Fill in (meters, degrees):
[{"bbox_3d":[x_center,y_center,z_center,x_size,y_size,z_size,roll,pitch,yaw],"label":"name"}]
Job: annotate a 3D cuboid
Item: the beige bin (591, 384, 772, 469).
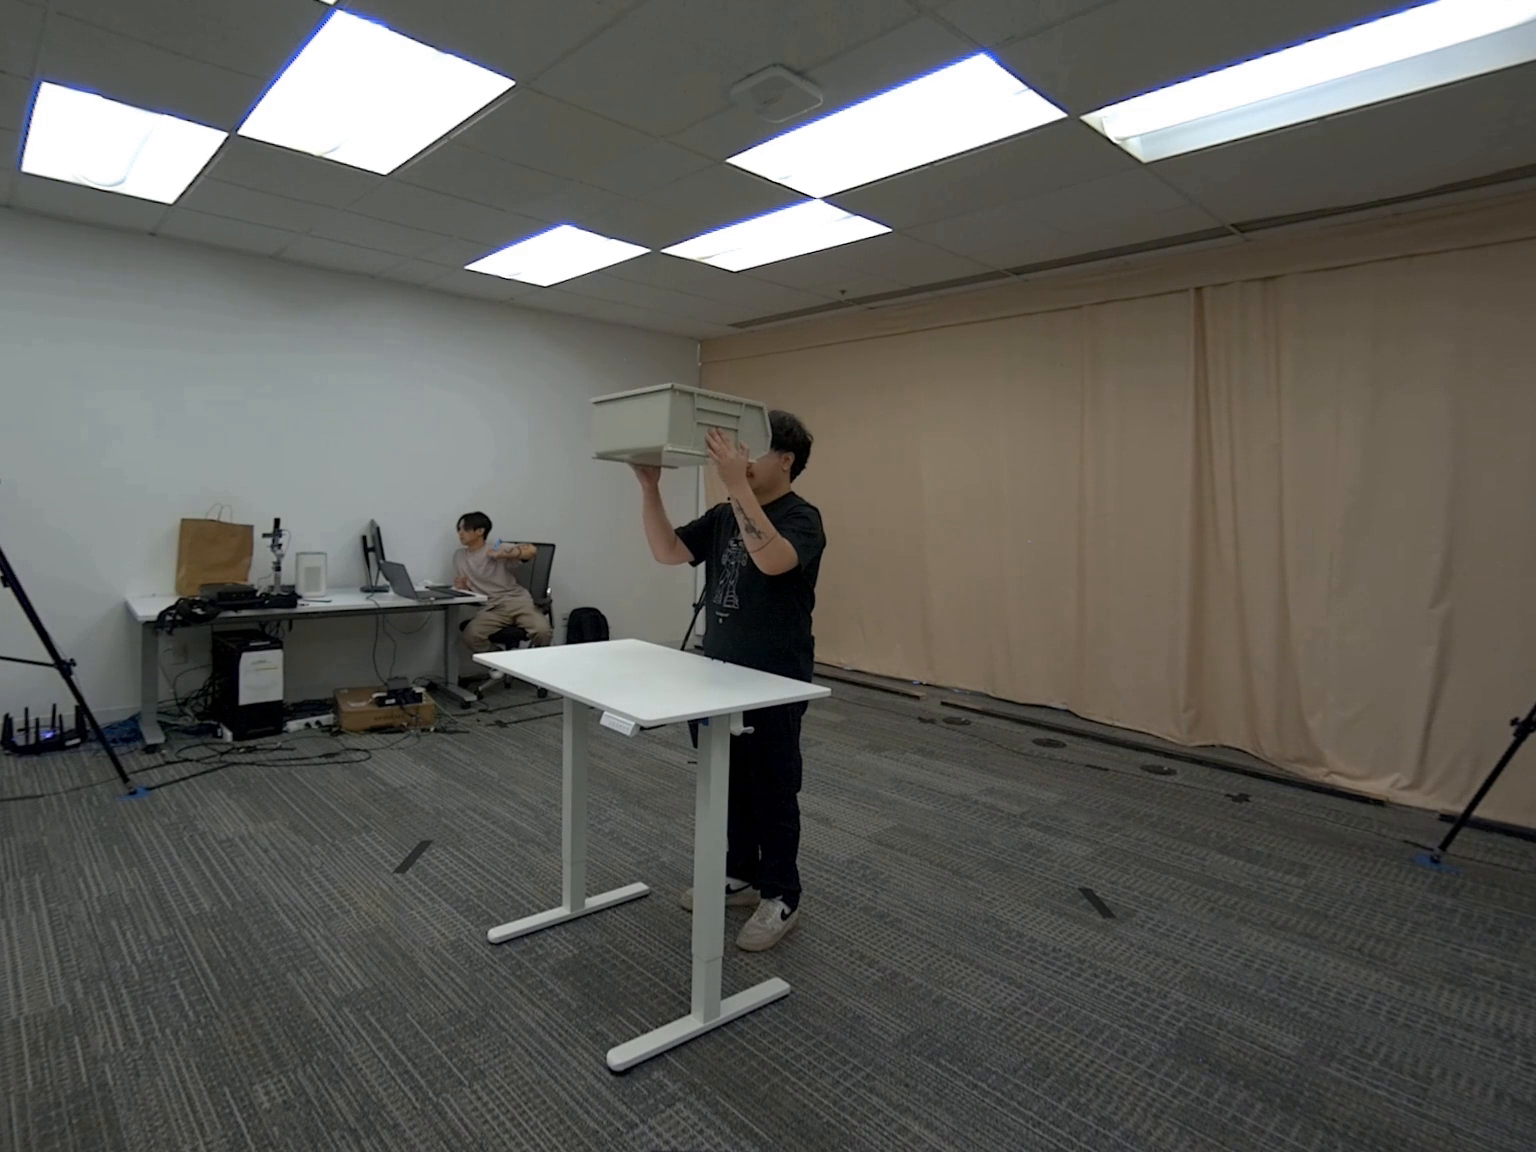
[{"bbox_3d":[-0.276,-0.426,2.510,0.368,0.189,0.433,2,2,-42],"label":"beige bin"}]
